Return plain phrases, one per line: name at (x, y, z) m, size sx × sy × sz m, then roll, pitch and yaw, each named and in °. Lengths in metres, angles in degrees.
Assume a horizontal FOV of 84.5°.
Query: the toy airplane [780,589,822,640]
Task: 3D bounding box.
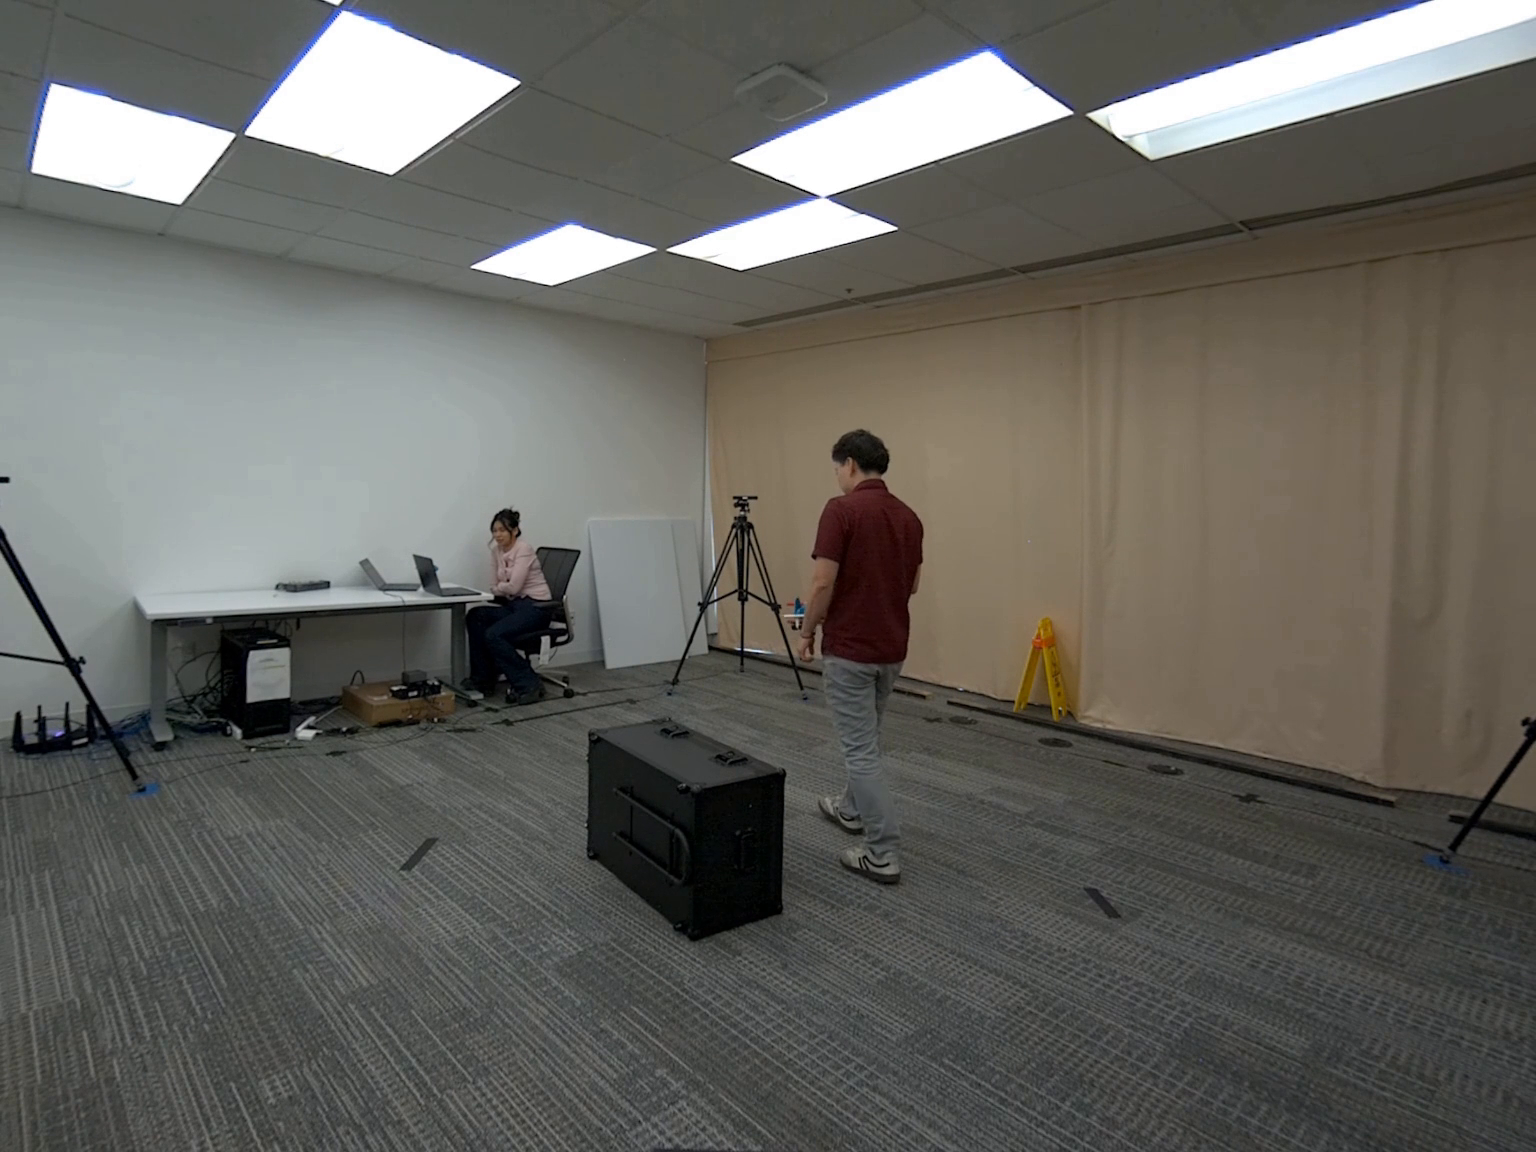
toy airplane at (0.190, 0.165, 3.525) m, size 0.253 × 0.158 × 0.255 m, roll 3°, pitch -13°, yaw 7°
